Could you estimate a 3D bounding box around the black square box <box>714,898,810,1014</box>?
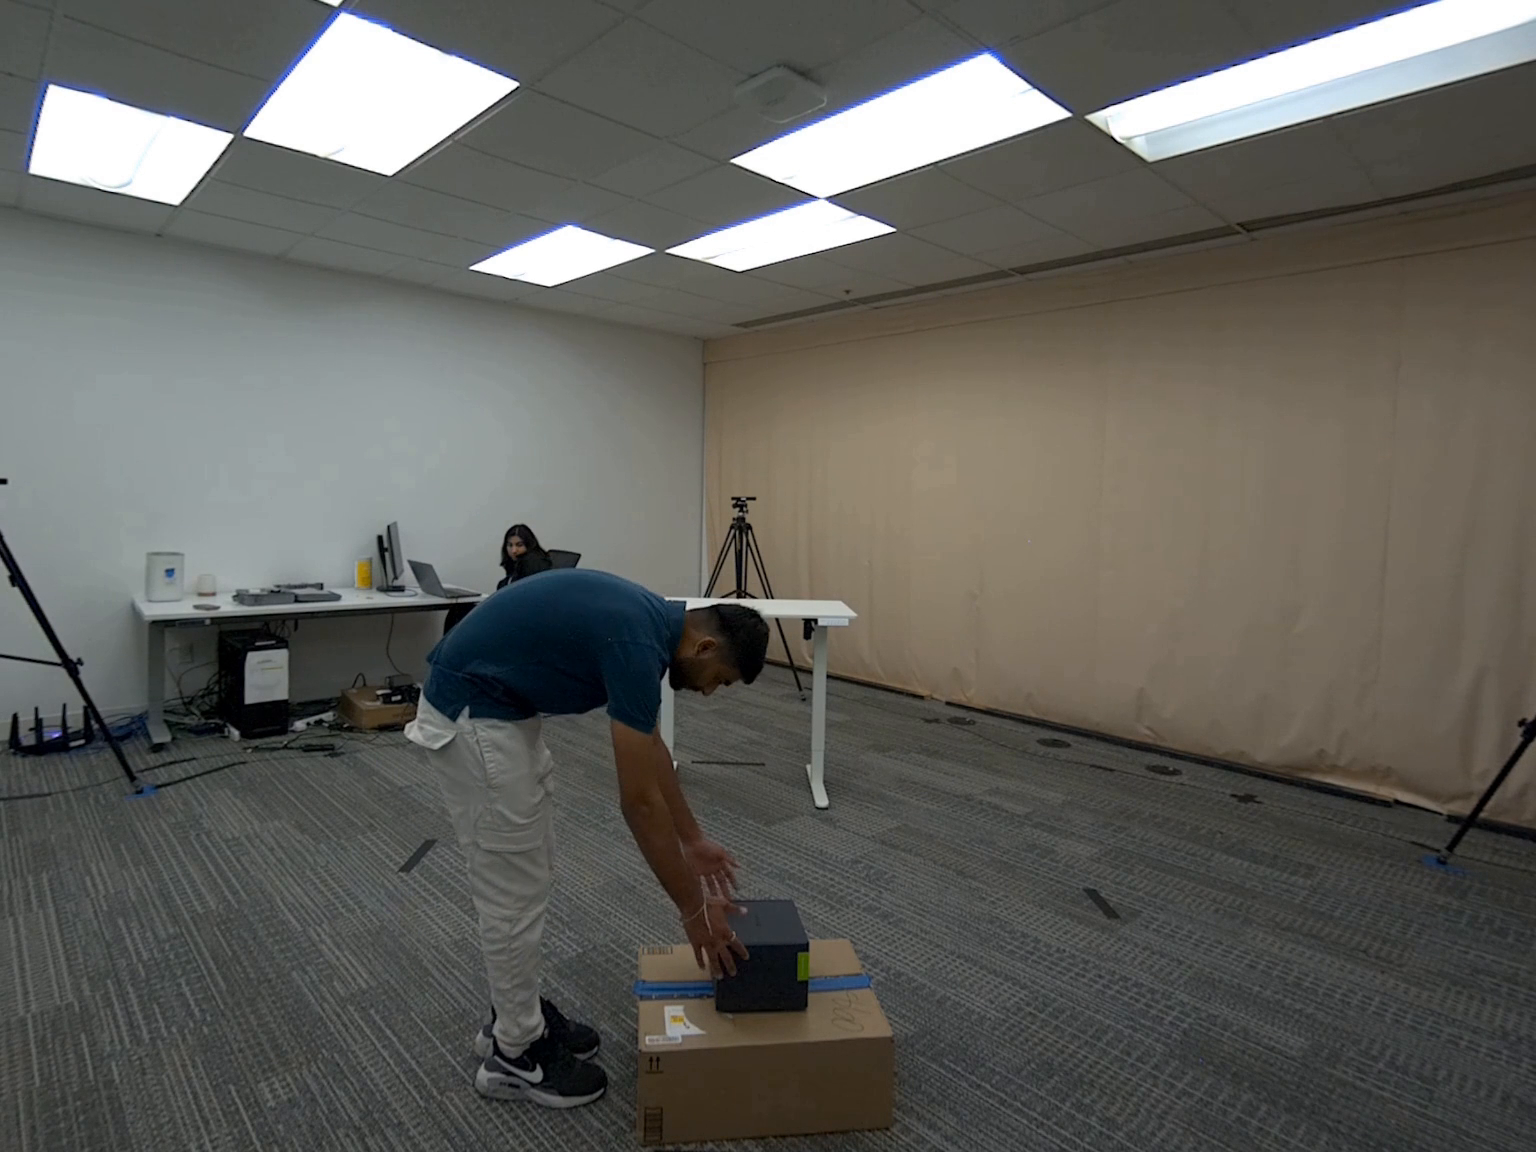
[{"bbox_3d":[-0.035,0.910,2.032,0.216,0.155,0.229,2,3,-7],"label":"black square box"}]
